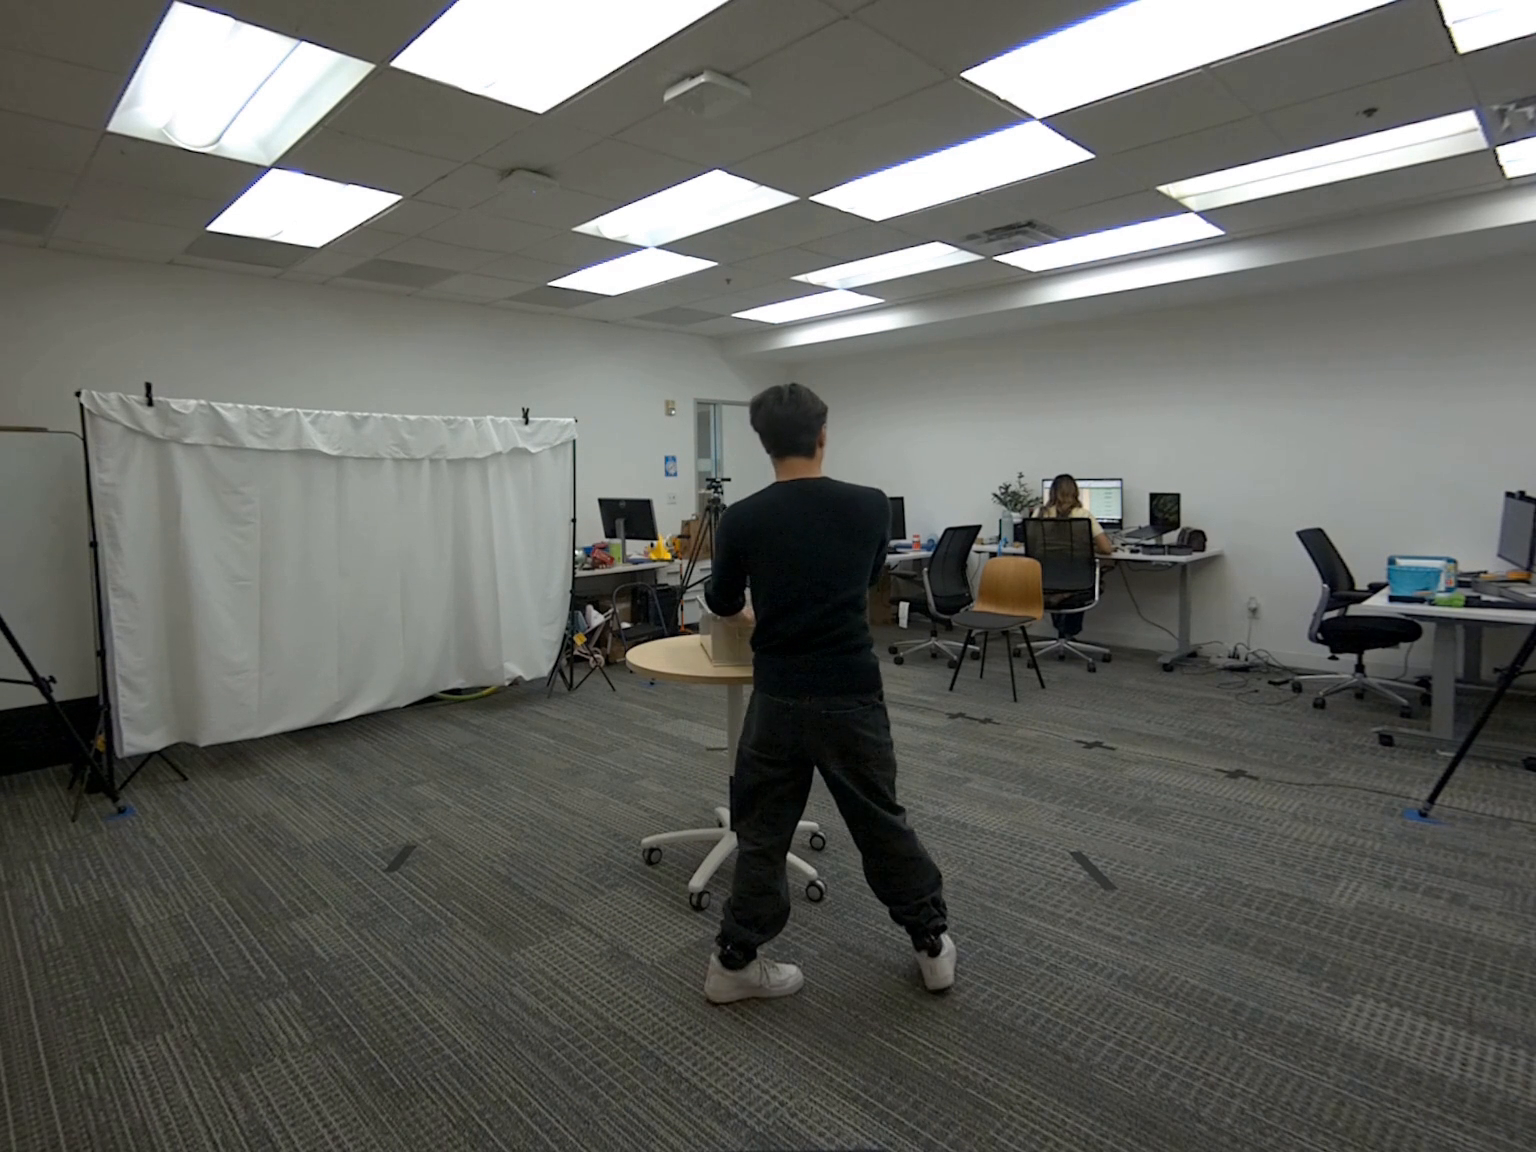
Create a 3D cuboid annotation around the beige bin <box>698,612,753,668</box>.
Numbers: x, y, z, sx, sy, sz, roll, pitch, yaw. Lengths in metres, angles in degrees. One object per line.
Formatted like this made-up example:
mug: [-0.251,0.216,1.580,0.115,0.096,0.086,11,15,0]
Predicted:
beige bin: [-0.038,0.181,3.003,0.374,0.188,0.428,-2,6,-9]
